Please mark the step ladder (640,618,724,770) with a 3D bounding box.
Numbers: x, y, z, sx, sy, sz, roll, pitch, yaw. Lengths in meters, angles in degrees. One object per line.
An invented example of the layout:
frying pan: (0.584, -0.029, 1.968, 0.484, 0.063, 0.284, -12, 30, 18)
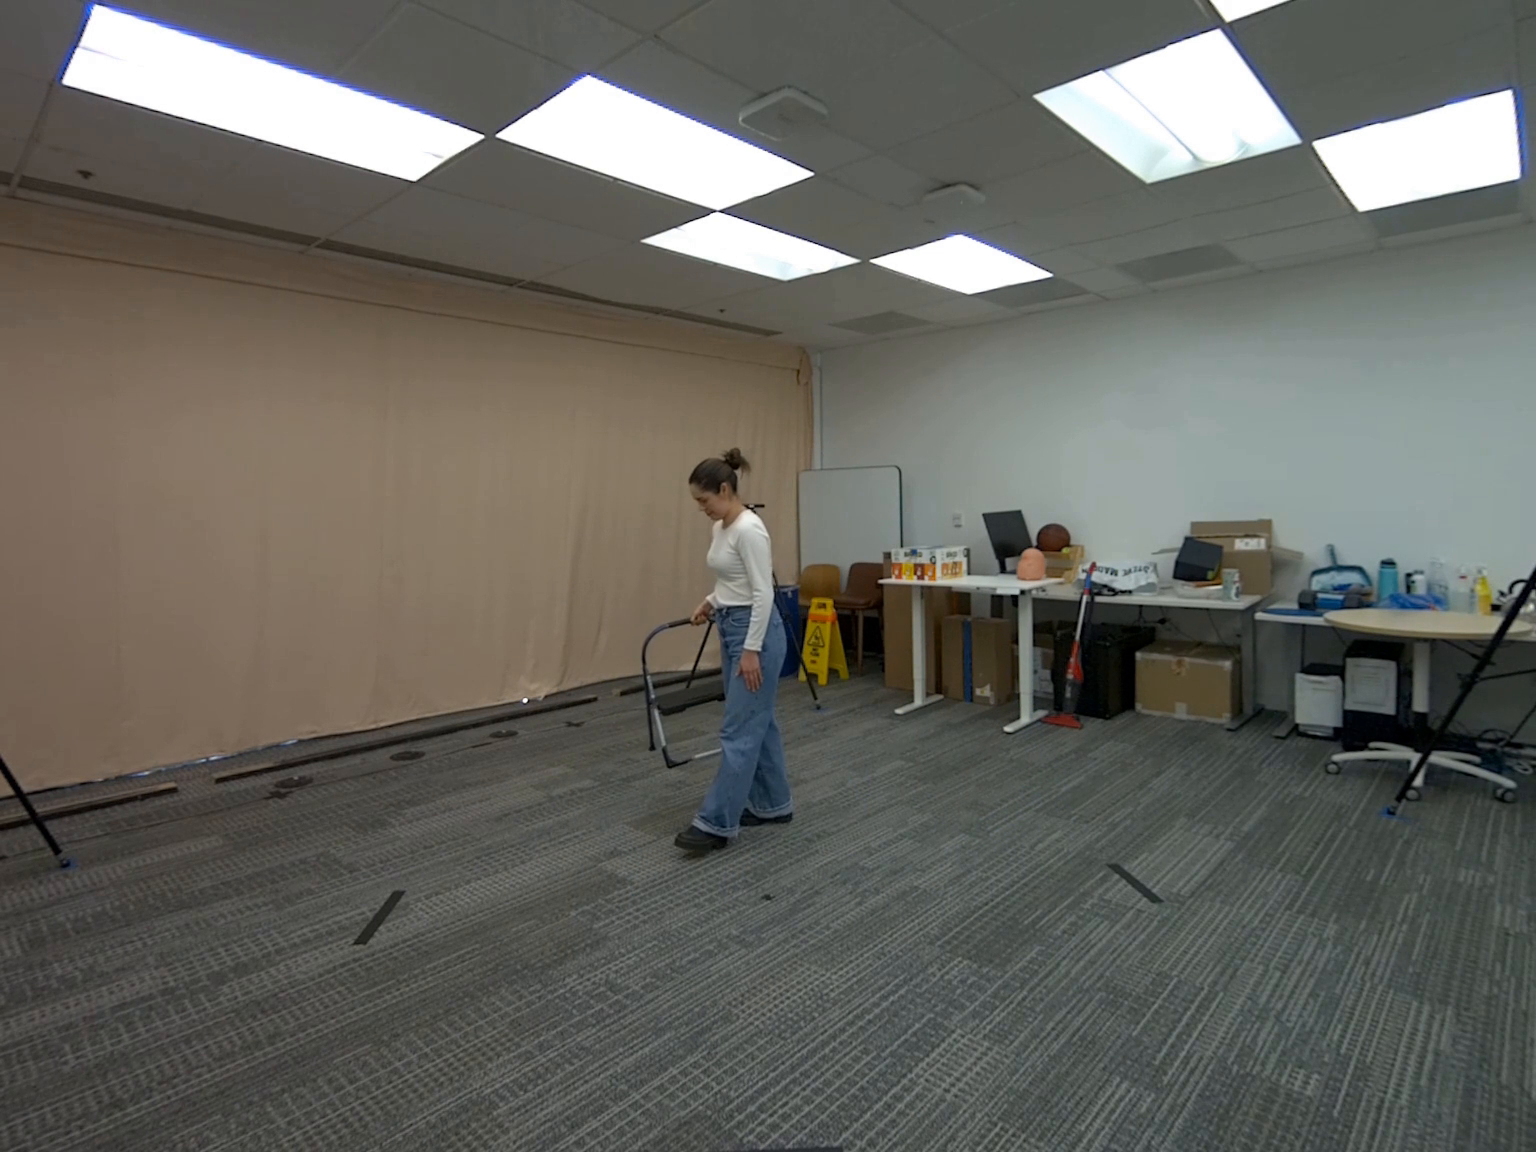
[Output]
step ladder: (-0.357, 0.487, 3.814, 0.424, 0.603, 0.357, -13, 7, -18)
